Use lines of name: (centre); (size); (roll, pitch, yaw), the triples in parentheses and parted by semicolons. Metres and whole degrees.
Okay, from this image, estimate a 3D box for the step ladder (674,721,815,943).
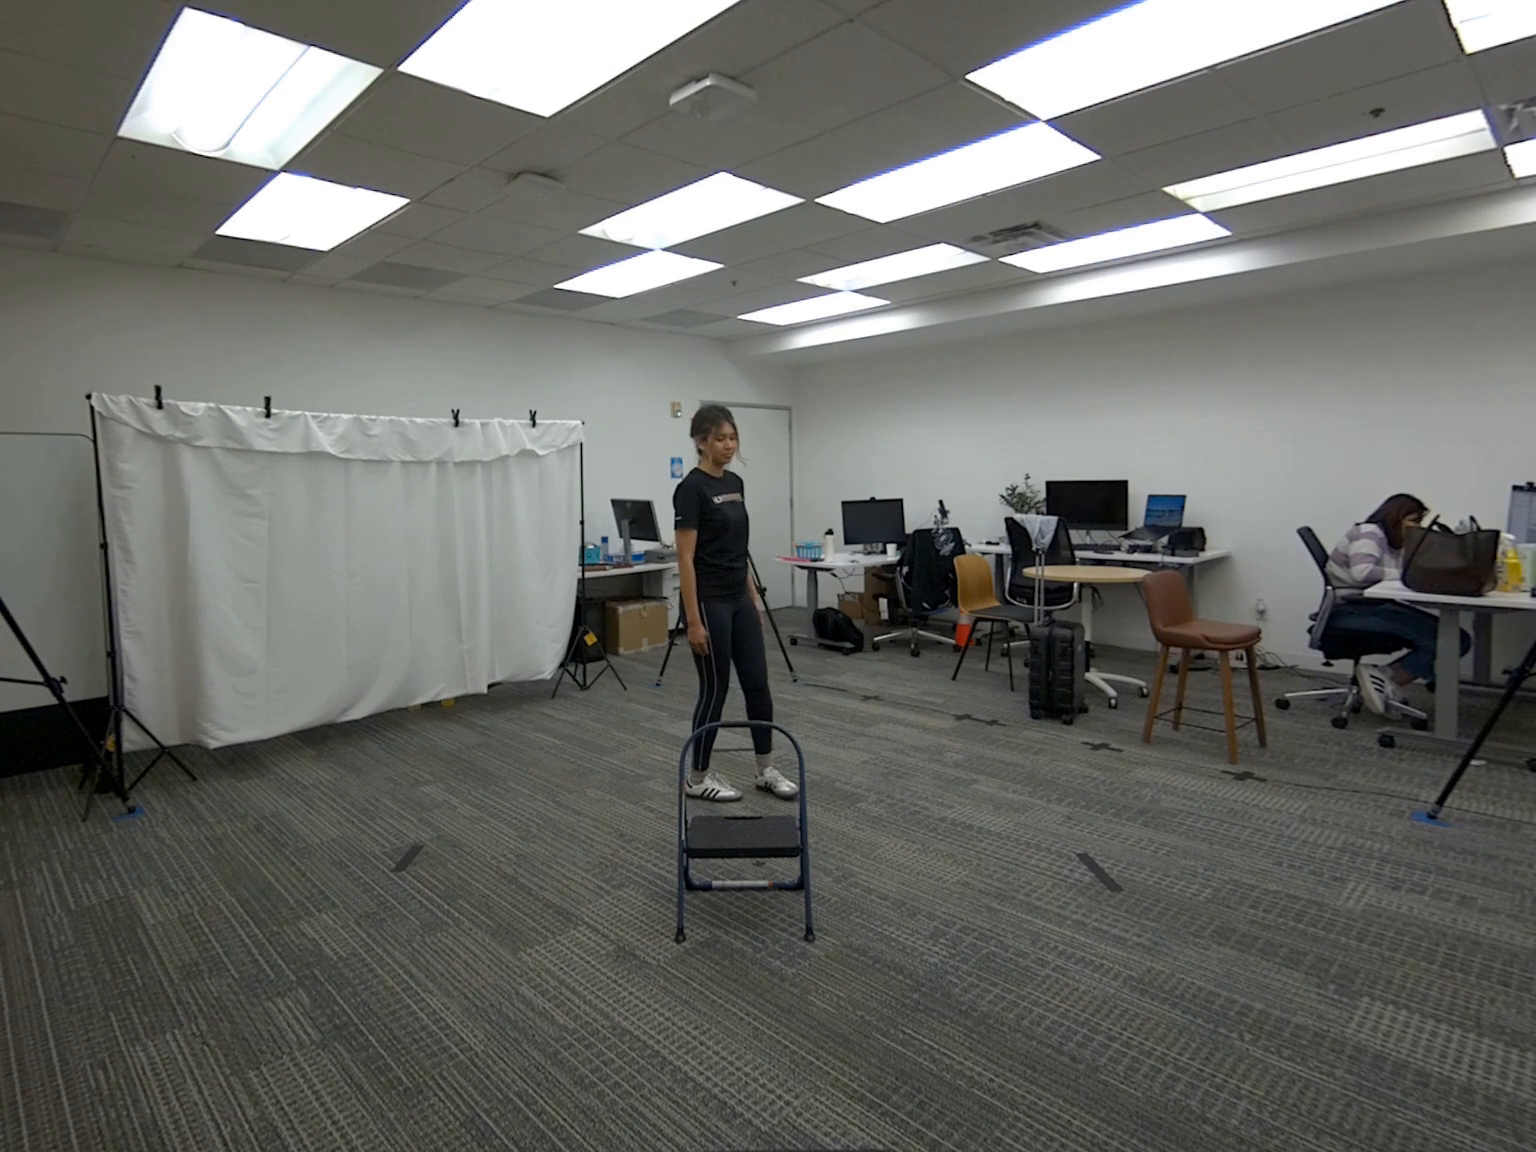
step ladder: (-0.078, 0.794, 2.747); (0.430, 0.604, 0.351); (-1, 5, -1)
